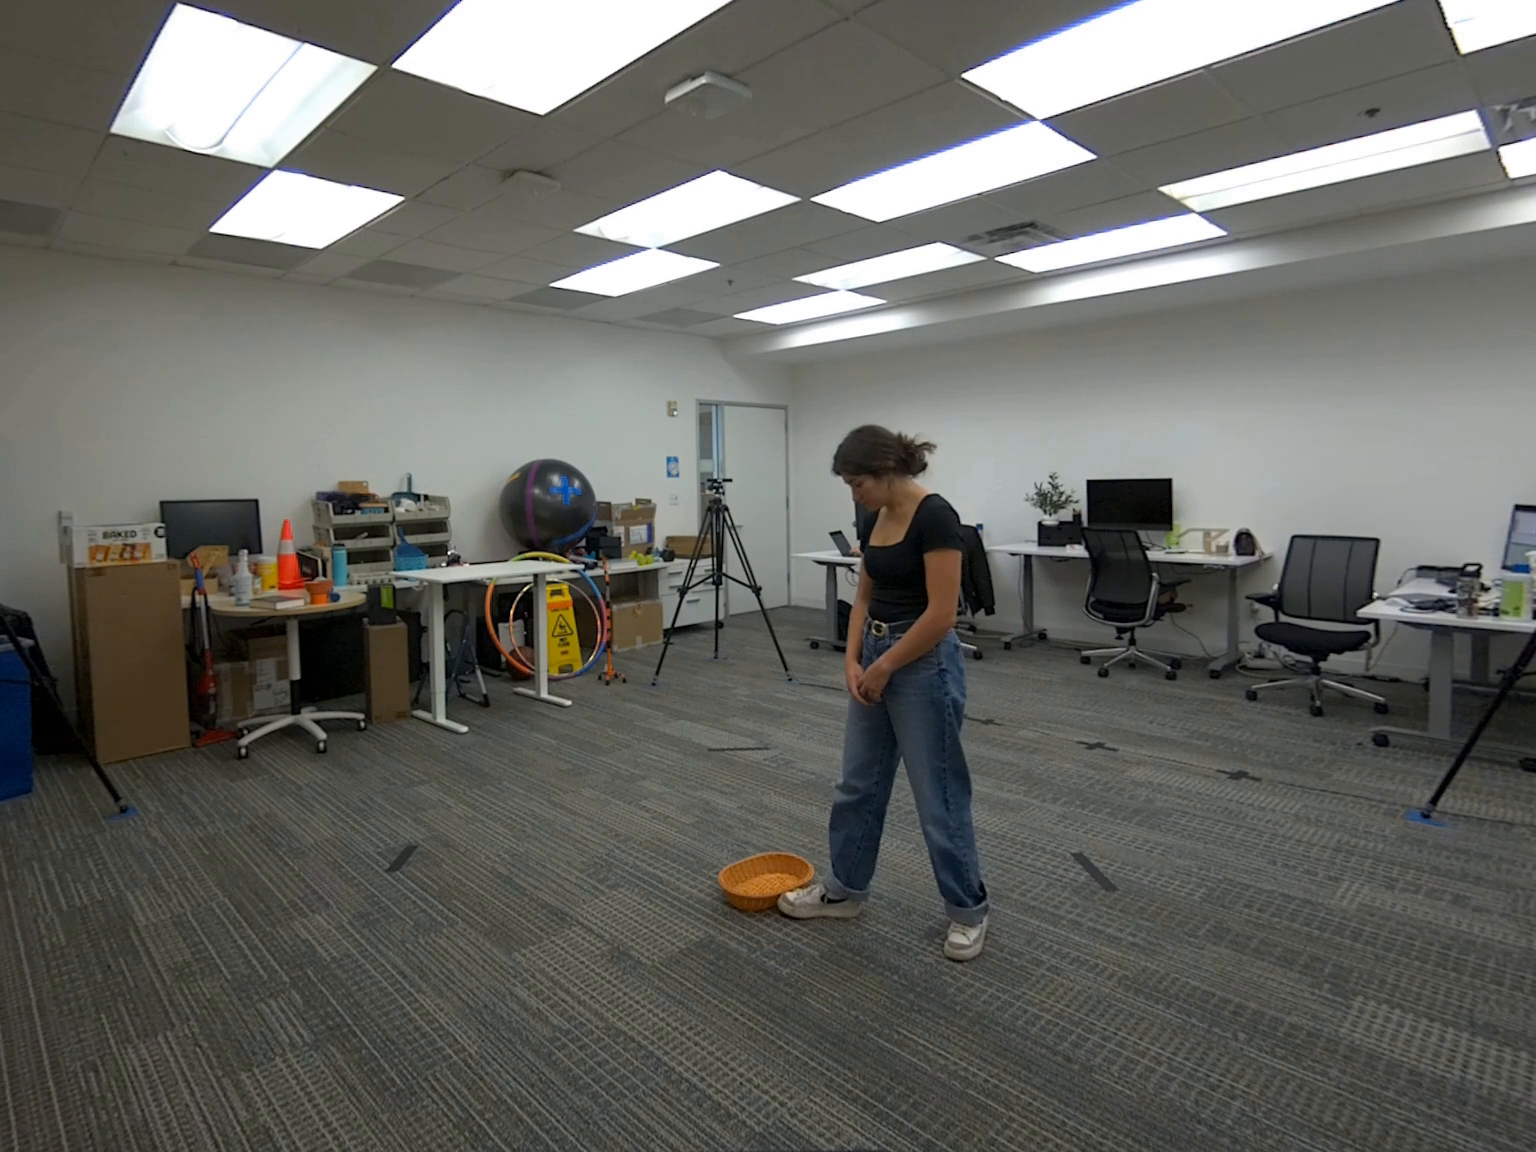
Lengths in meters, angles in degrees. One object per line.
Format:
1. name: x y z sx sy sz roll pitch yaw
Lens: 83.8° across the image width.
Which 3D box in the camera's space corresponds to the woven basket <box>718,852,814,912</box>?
1. woven basket: -0.001 1.029 2.873 0.341 0.073 0.260 -5 8 -36
